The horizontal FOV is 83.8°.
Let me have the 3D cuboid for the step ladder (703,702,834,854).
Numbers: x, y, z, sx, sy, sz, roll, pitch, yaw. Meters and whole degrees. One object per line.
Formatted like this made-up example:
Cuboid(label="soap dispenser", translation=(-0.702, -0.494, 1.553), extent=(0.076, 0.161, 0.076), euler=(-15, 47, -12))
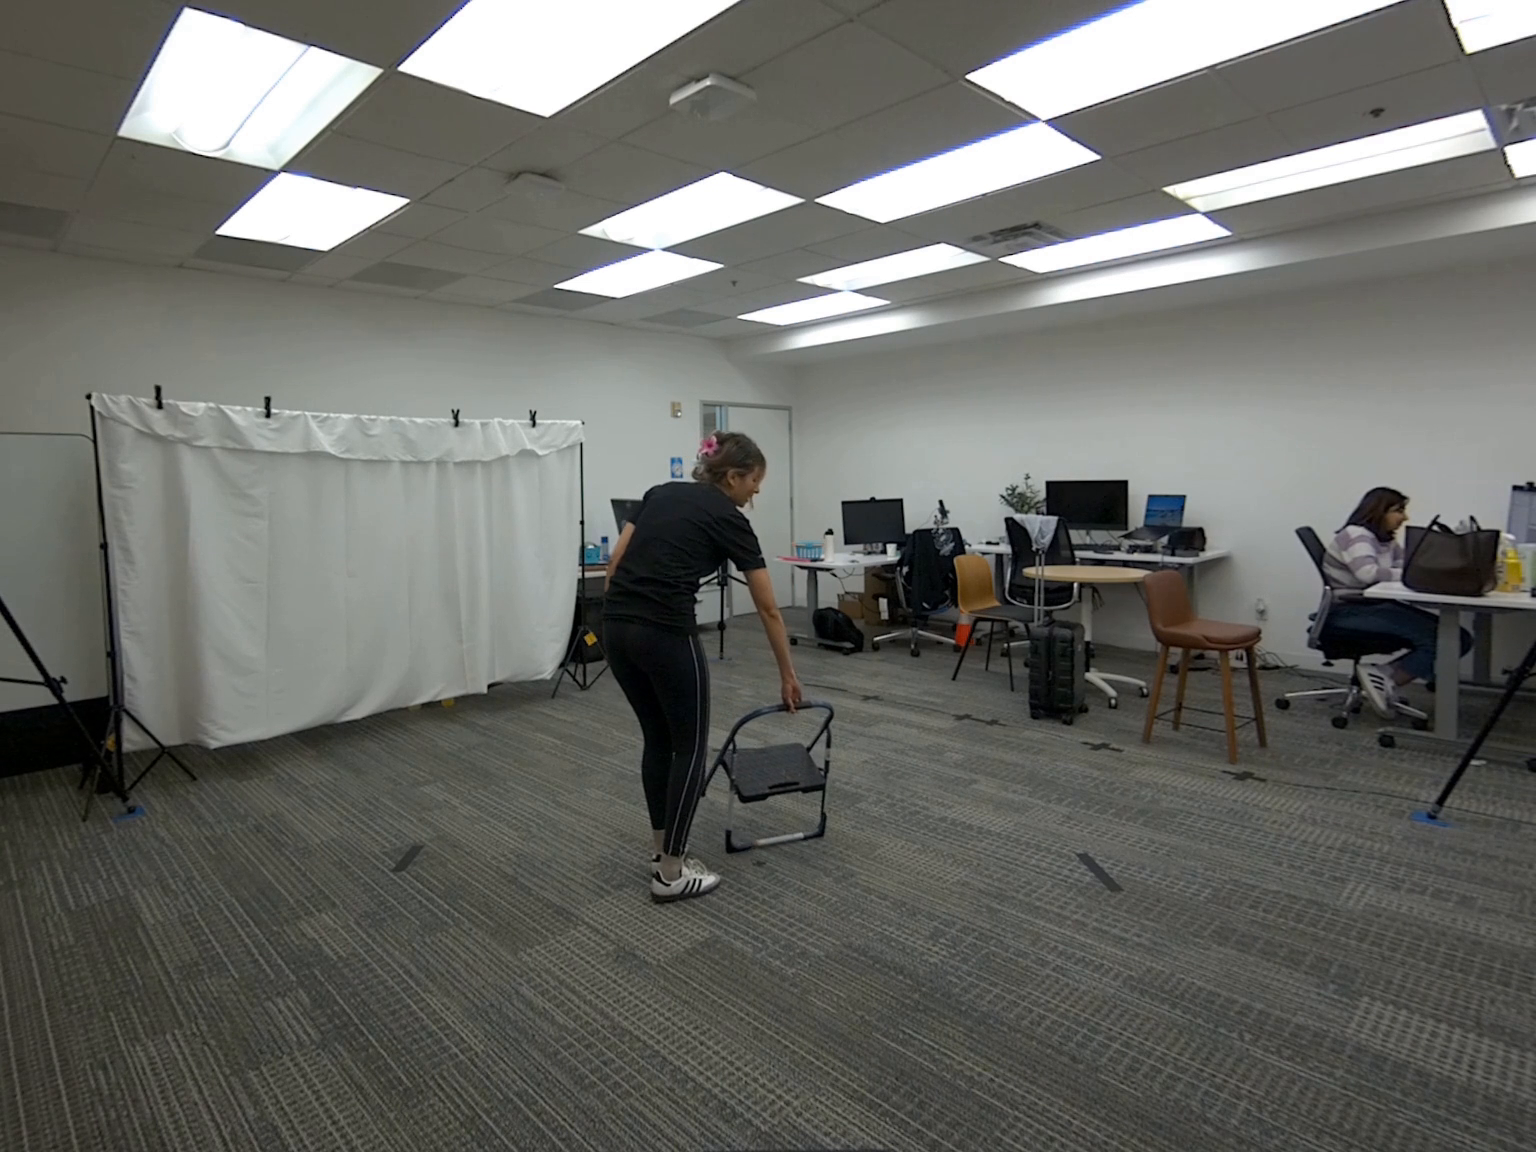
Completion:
Cuboid(label="step ladder", translation=(0.020, 0.687, 3.272), extent=(0.422, 0.595, 0.362), euler=(-3, 30, -23))
